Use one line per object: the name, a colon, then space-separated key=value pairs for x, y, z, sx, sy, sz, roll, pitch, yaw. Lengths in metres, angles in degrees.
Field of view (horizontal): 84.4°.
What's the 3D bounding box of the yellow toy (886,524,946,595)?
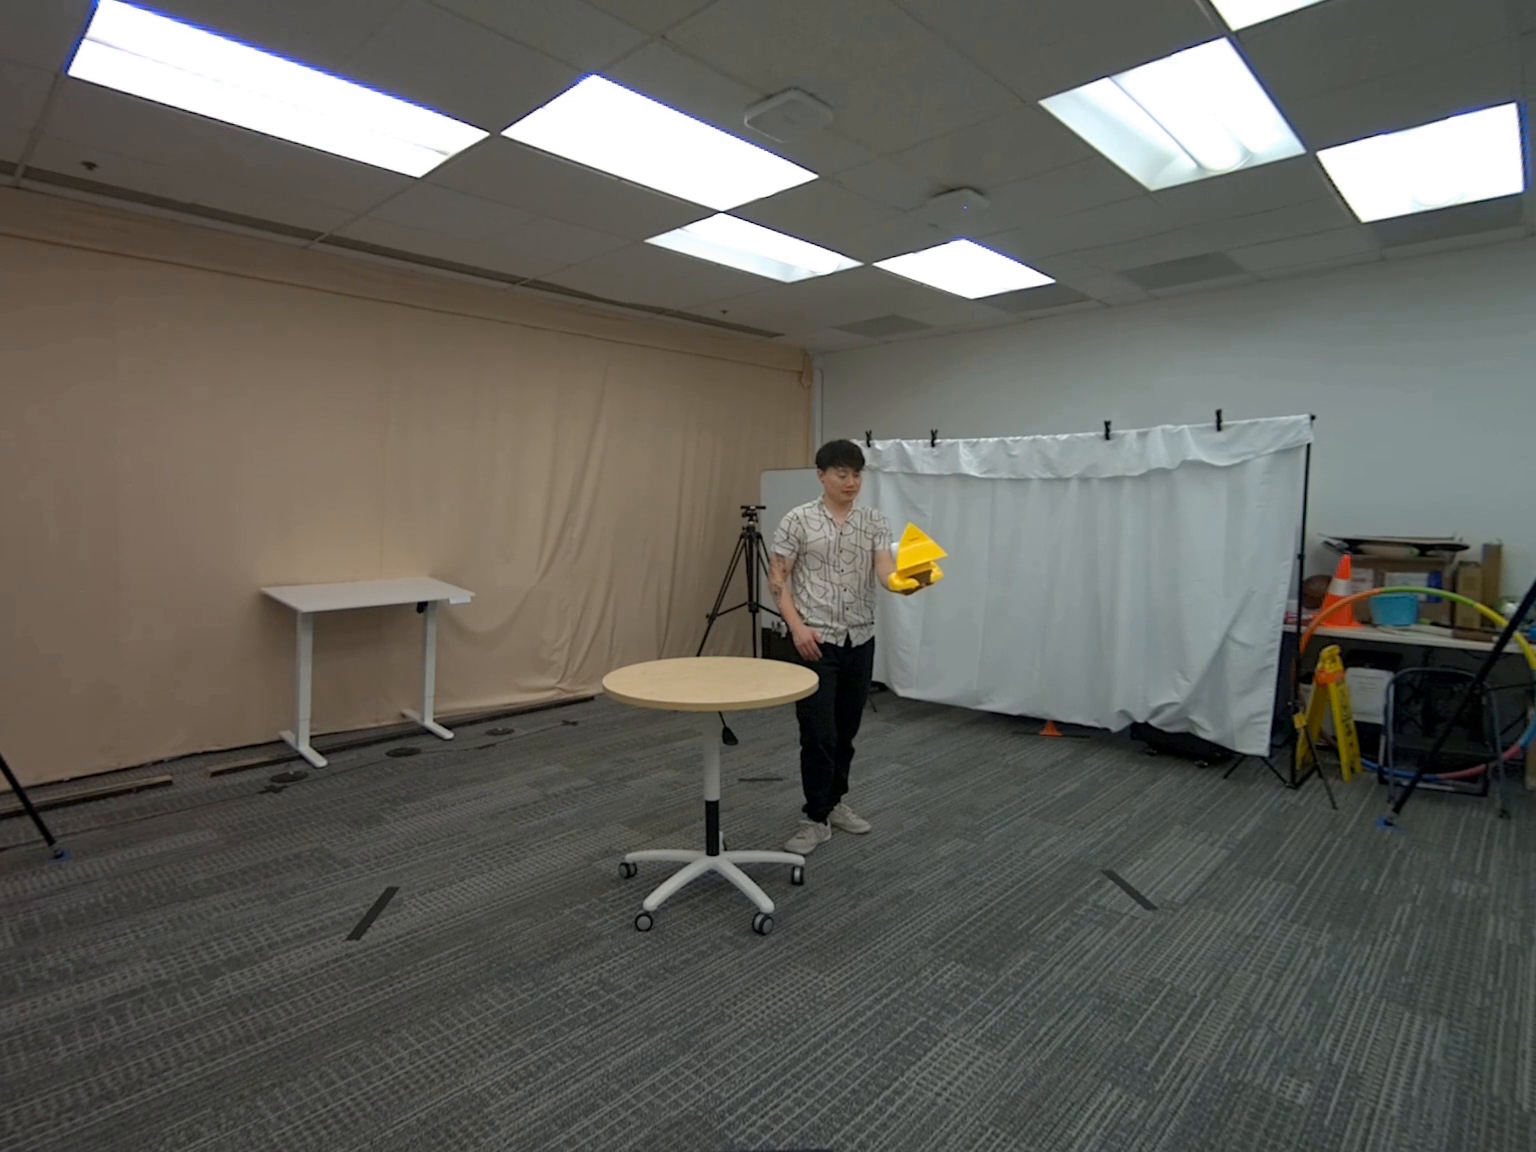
yellow toy: x=0.521 y=-0.085 z=3.131 sx=0.202 sy=0.230 sz=0.196 roll=-15 pitch=5 yaw=-13
